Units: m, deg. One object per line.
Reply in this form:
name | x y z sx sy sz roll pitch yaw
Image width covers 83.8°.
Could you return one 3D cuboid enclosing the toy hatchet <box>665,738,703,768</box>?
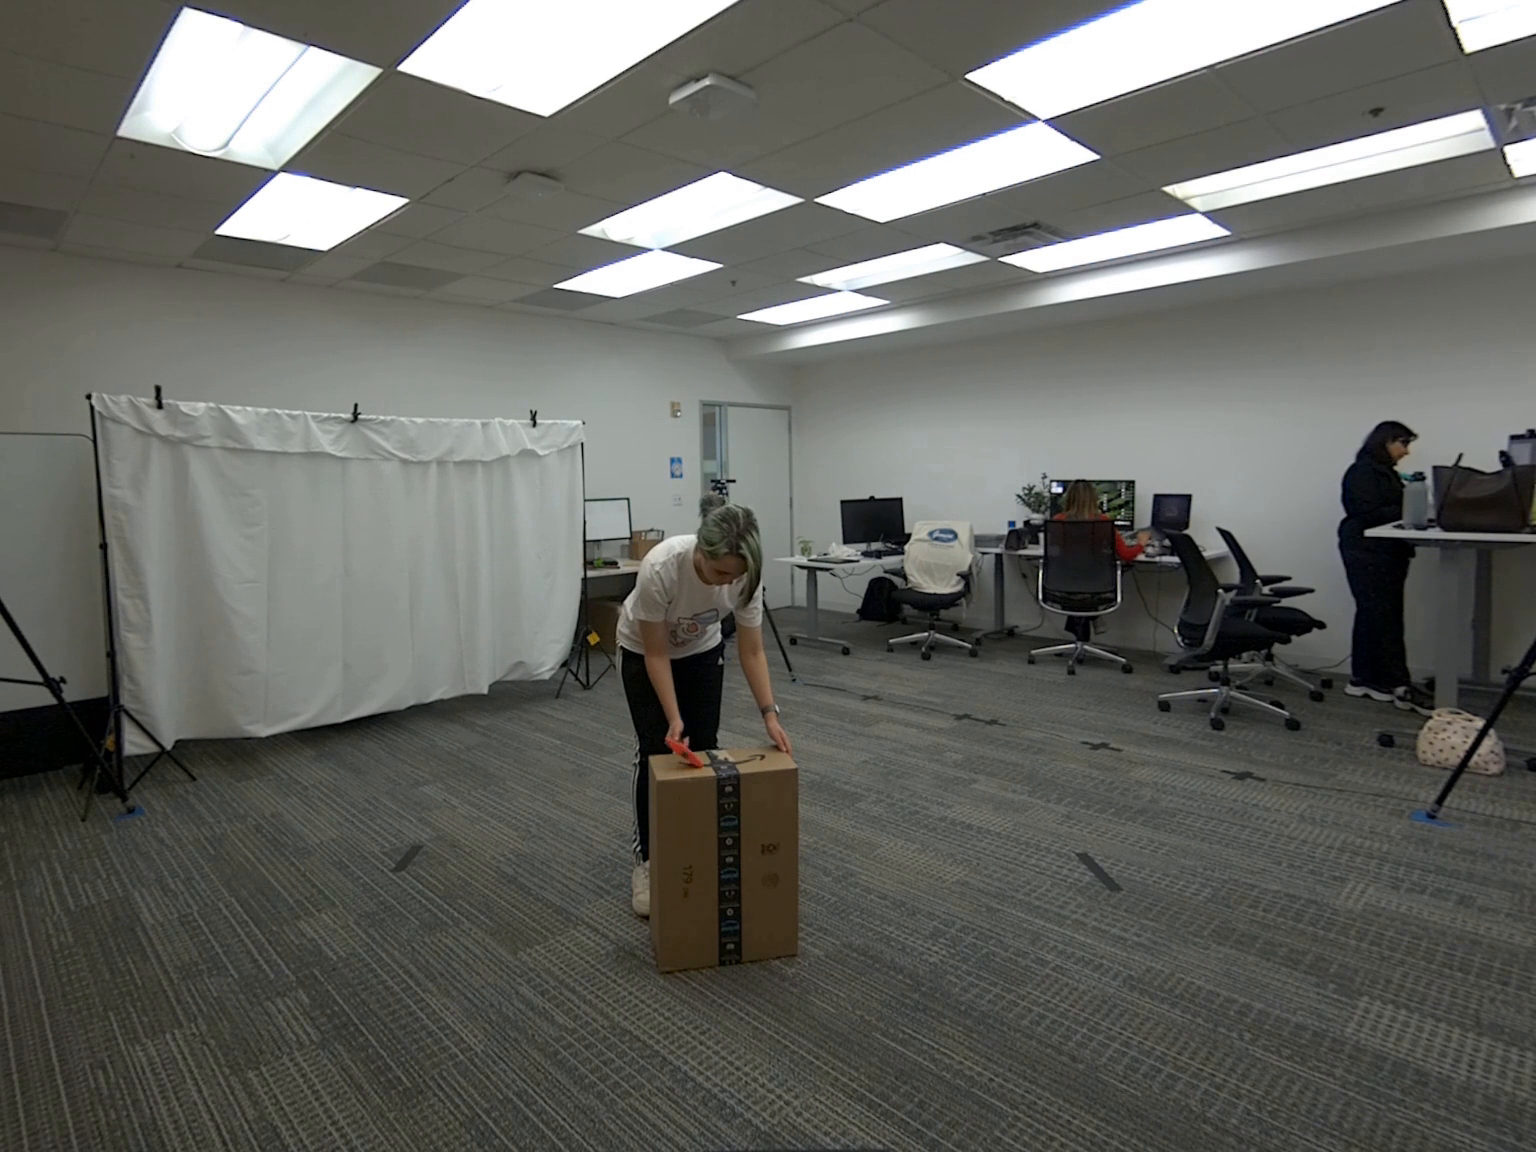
toy hatchet | -0.233 0.534 2.587 0.133 0.029 0.266 35 -6 8
